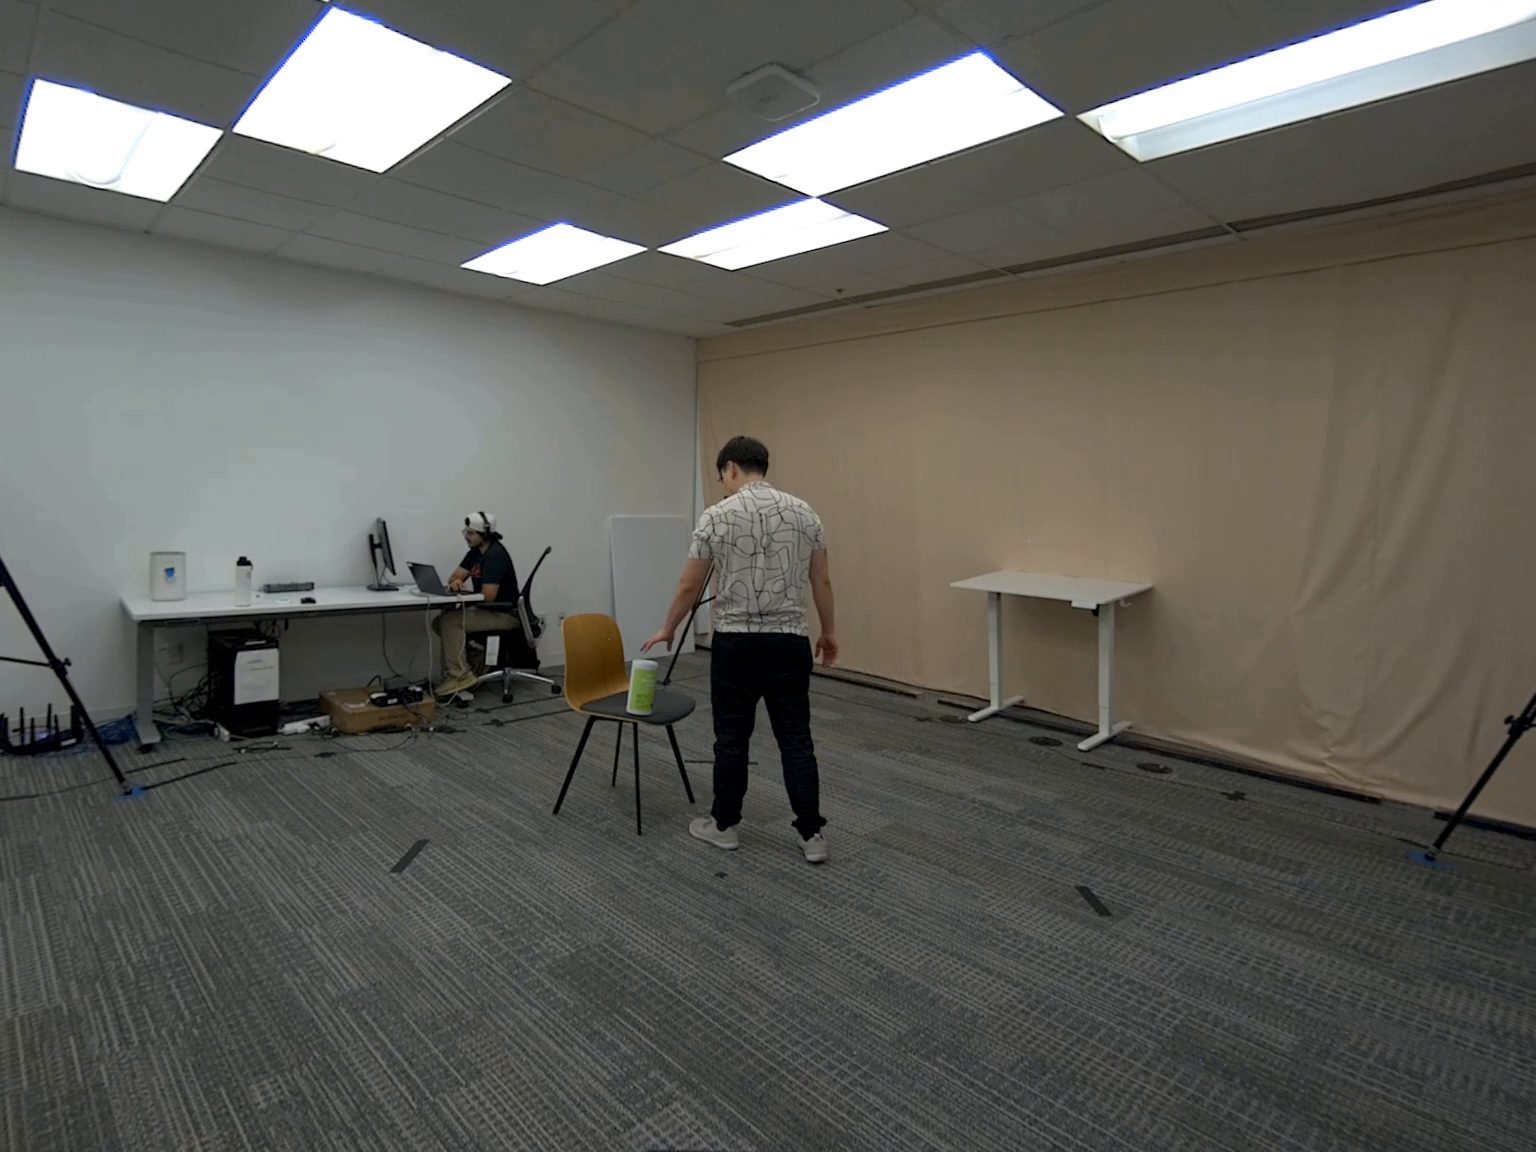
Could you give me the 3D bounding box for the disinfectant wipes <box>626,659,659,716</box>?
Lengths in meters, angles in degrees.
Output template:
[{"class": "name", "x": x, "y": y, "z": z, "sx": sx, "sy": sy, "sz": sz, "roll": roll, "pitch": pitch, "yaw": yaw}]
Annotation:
[{"class": "disinfectant wipes", "x": -0.527, "y": 0.462, "z": 3.500, "sx": 0.118, "sy": 0.217, "sz": 0.118, "roll": 7, "pitch": -1, "yaw": -1}]
